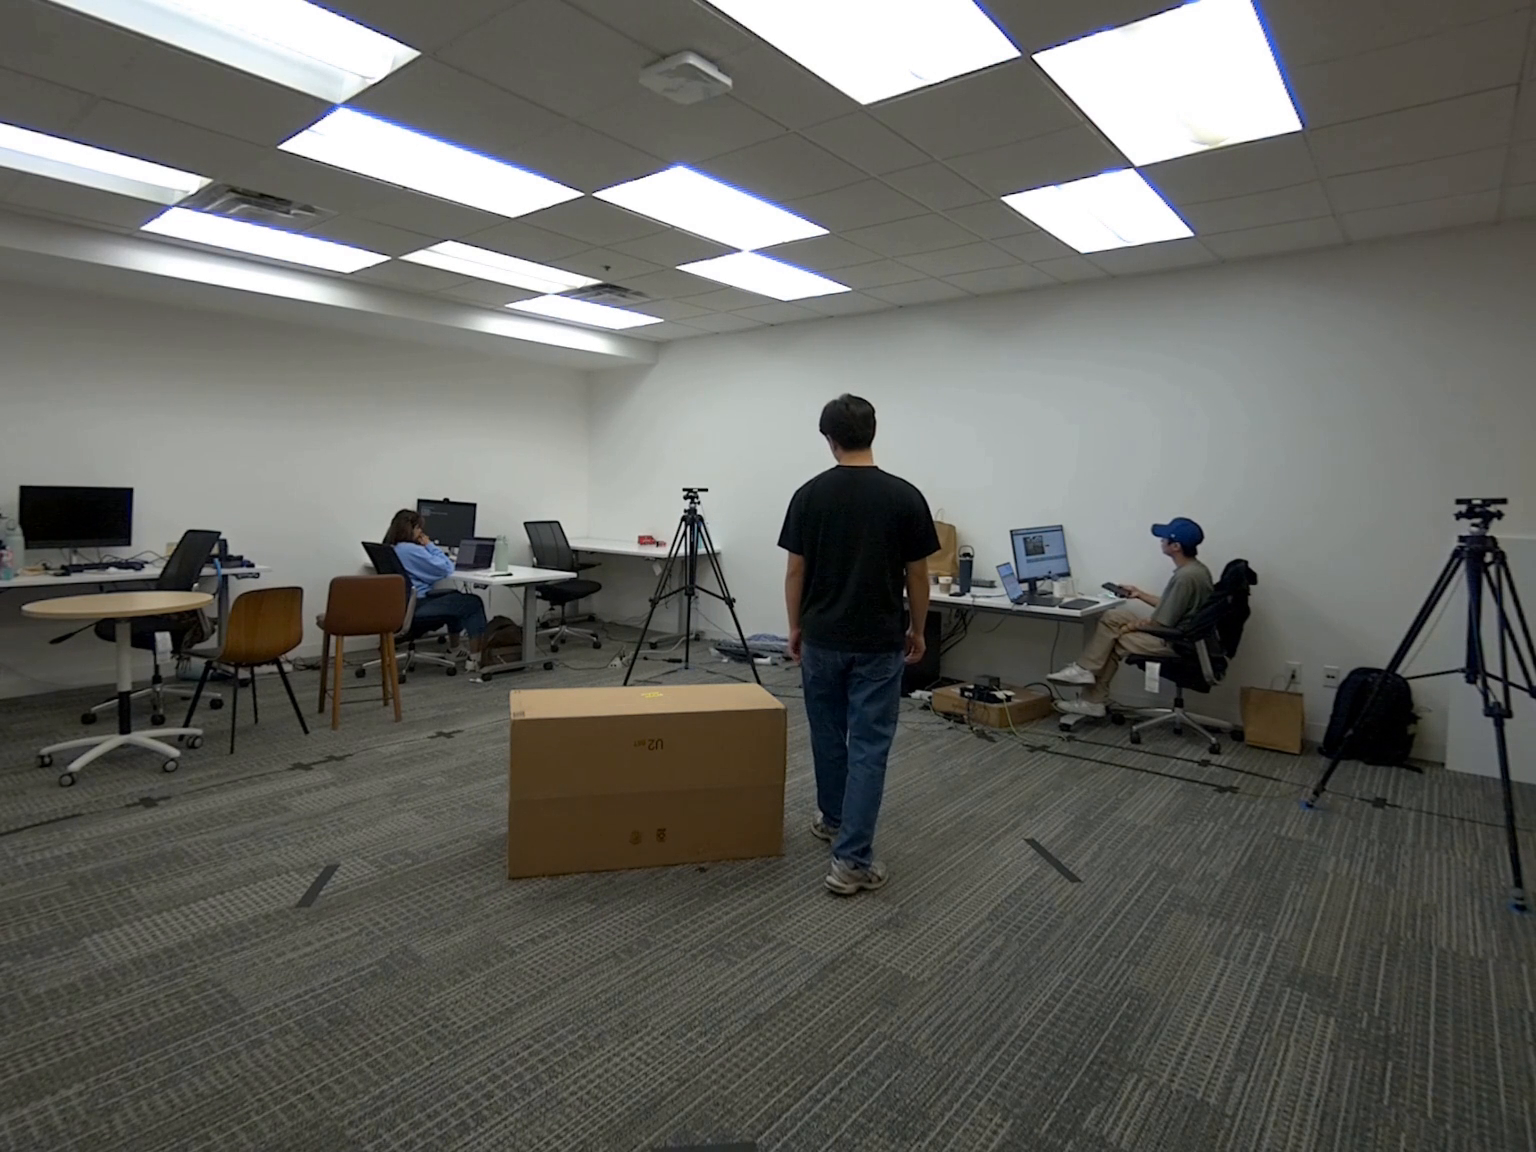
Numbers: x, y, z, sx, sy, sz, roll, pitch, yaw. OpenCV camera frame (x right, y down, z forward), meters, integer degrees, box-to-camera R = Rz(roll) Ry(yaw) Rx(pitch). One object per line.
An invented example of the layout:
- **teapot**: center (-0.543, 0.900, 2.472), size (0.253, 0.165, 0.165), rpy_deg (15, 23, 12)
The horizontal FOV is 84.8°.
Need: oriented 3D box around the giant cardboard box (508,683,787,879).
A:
- **giant cardboard box**: center (-0.495, 0.759, 3.311), size (1.011, 0.583, 0.455), rpy_deg (0, 3, -15)
